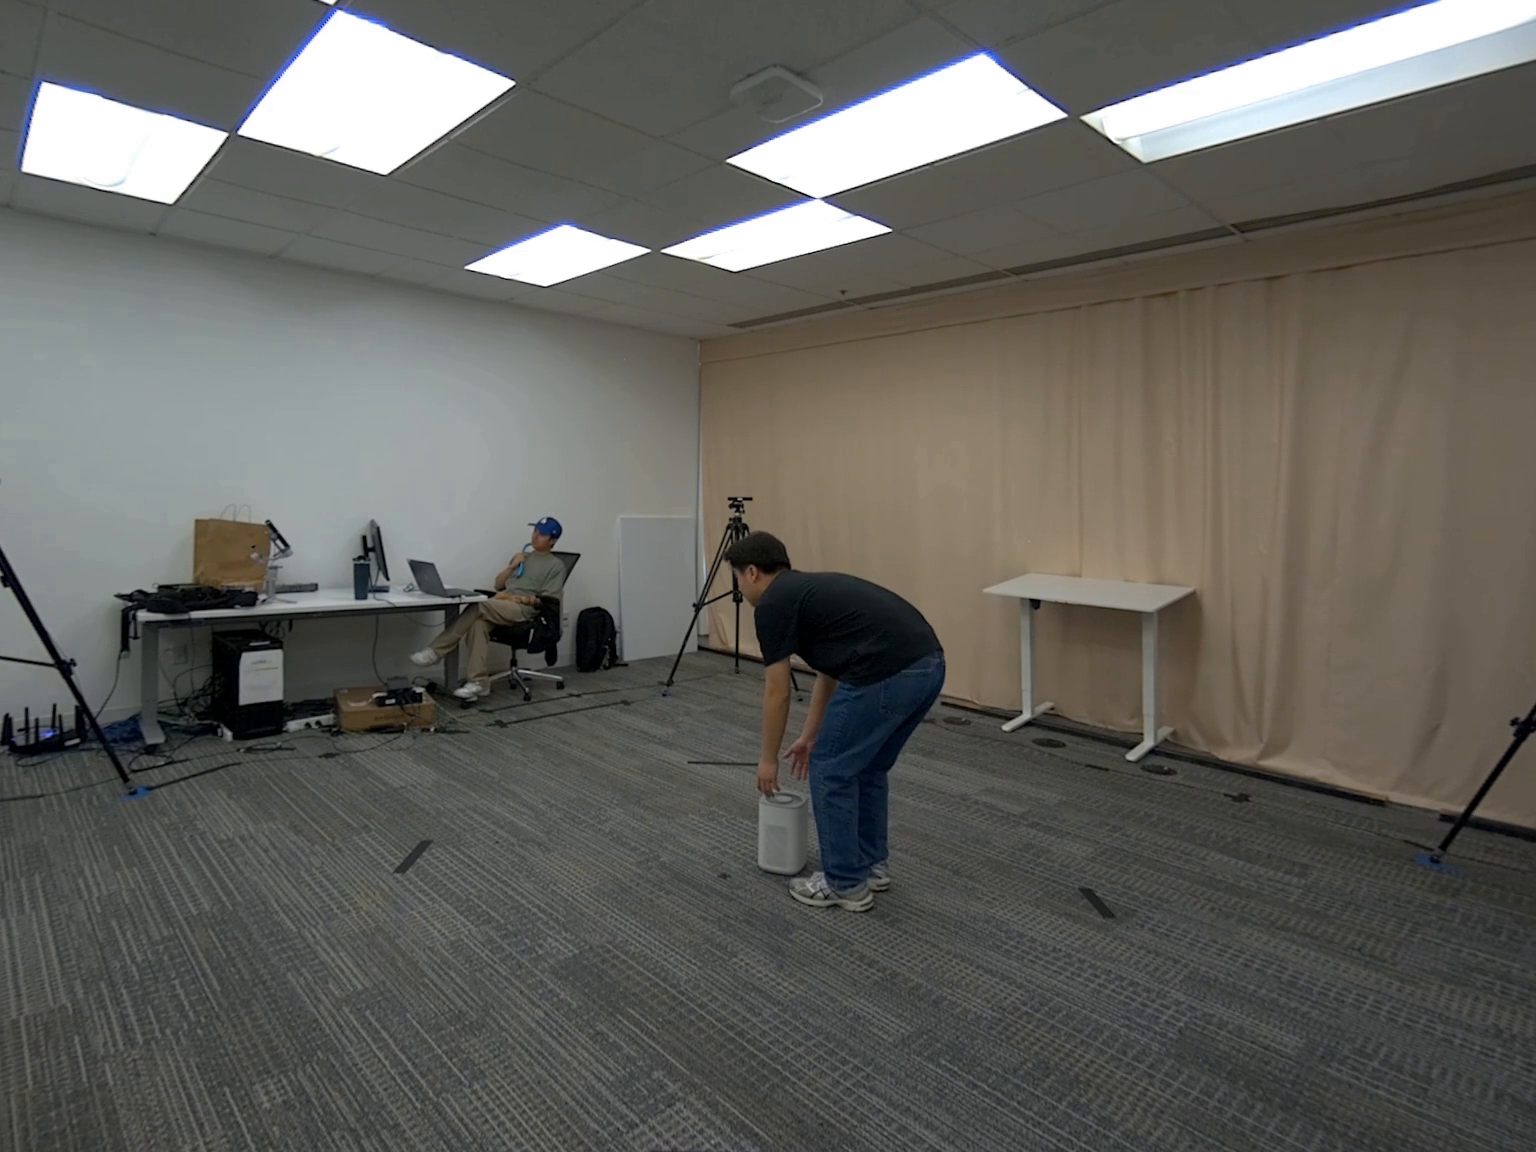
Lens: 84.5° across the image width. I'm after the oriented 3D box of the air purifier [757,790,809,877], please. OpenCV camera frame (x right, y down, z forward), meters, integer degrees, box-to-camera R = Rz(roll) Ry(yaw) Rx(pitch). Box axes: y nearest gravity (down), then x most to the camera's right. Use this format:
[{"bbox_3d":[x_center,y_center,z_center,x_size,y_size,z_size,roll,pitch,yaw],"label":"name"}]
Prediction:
[{"bbox_3d":[0.050,0.970,3.187,0.174,0.264,0.168,2,4,22],"label":"air purifier"}]
